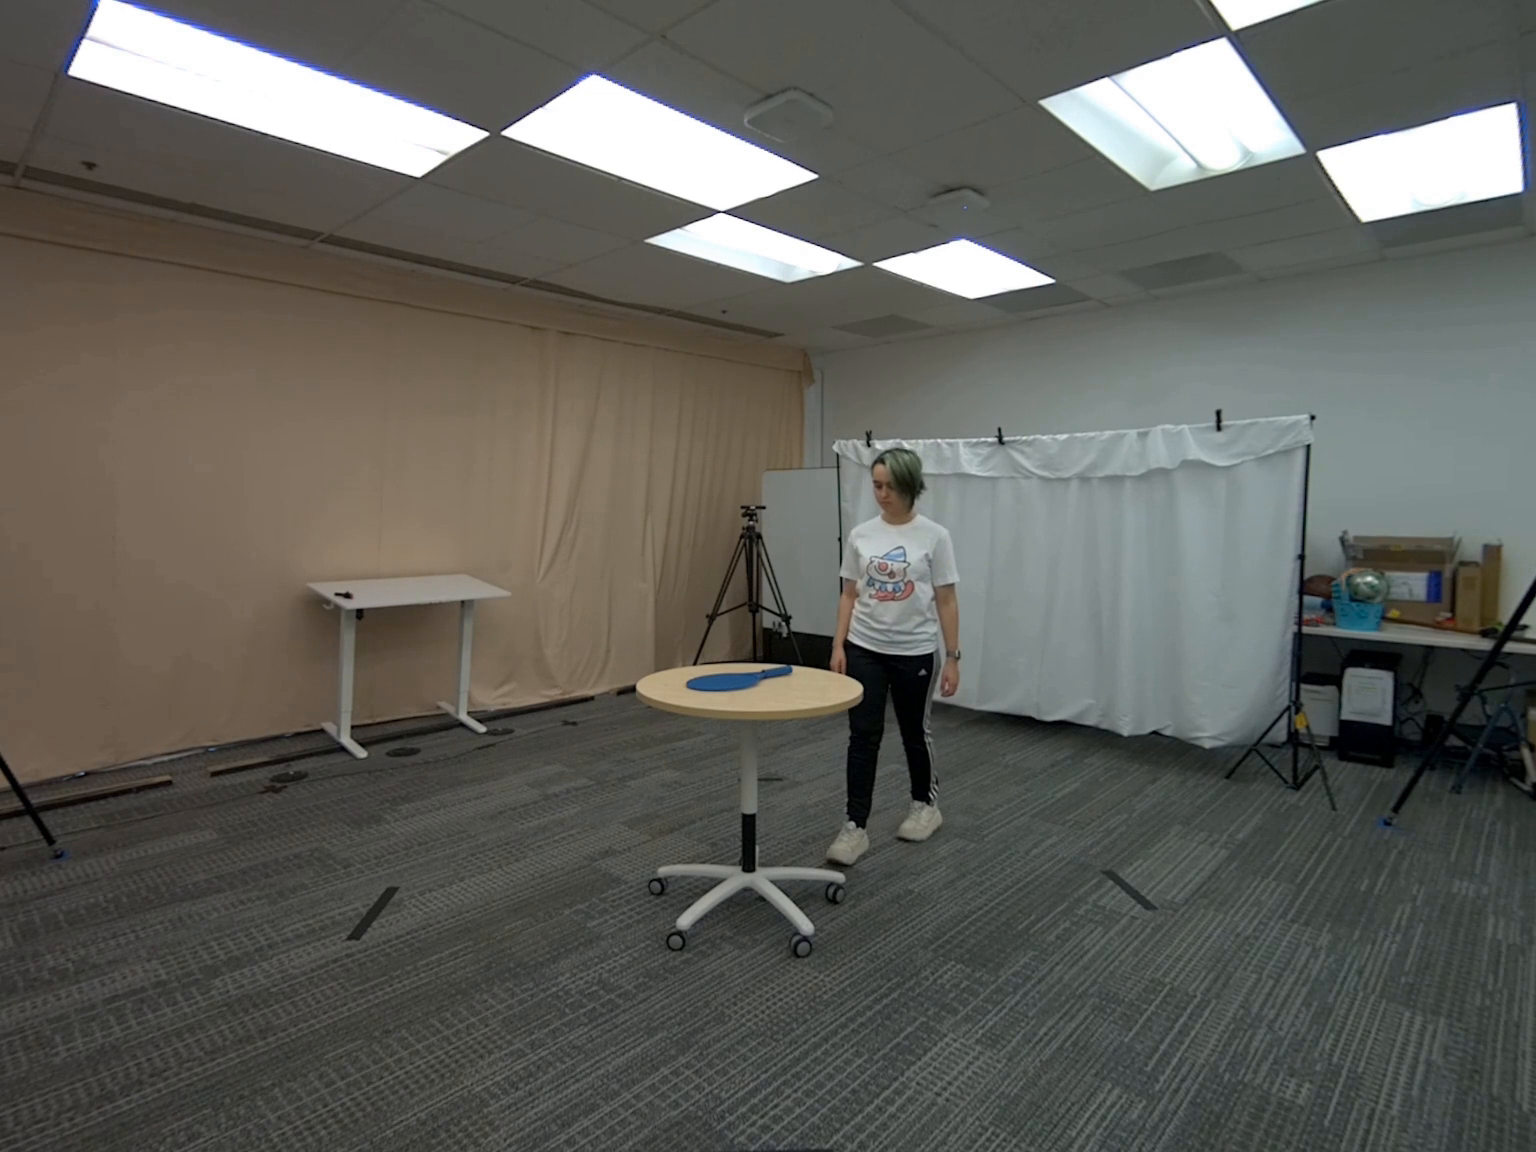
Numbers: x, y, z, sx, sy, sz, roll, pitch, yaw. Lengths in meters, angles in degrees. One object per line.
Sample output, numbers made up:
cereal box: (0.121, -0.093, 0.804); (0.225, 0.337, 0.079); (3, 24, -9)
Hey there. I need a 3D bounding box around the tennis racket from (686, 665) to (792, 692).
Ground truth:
tennis racket: (-0.087, 0.360, 2.904); (0.421, 0.031, 0.220); (-5, 8, -34)
